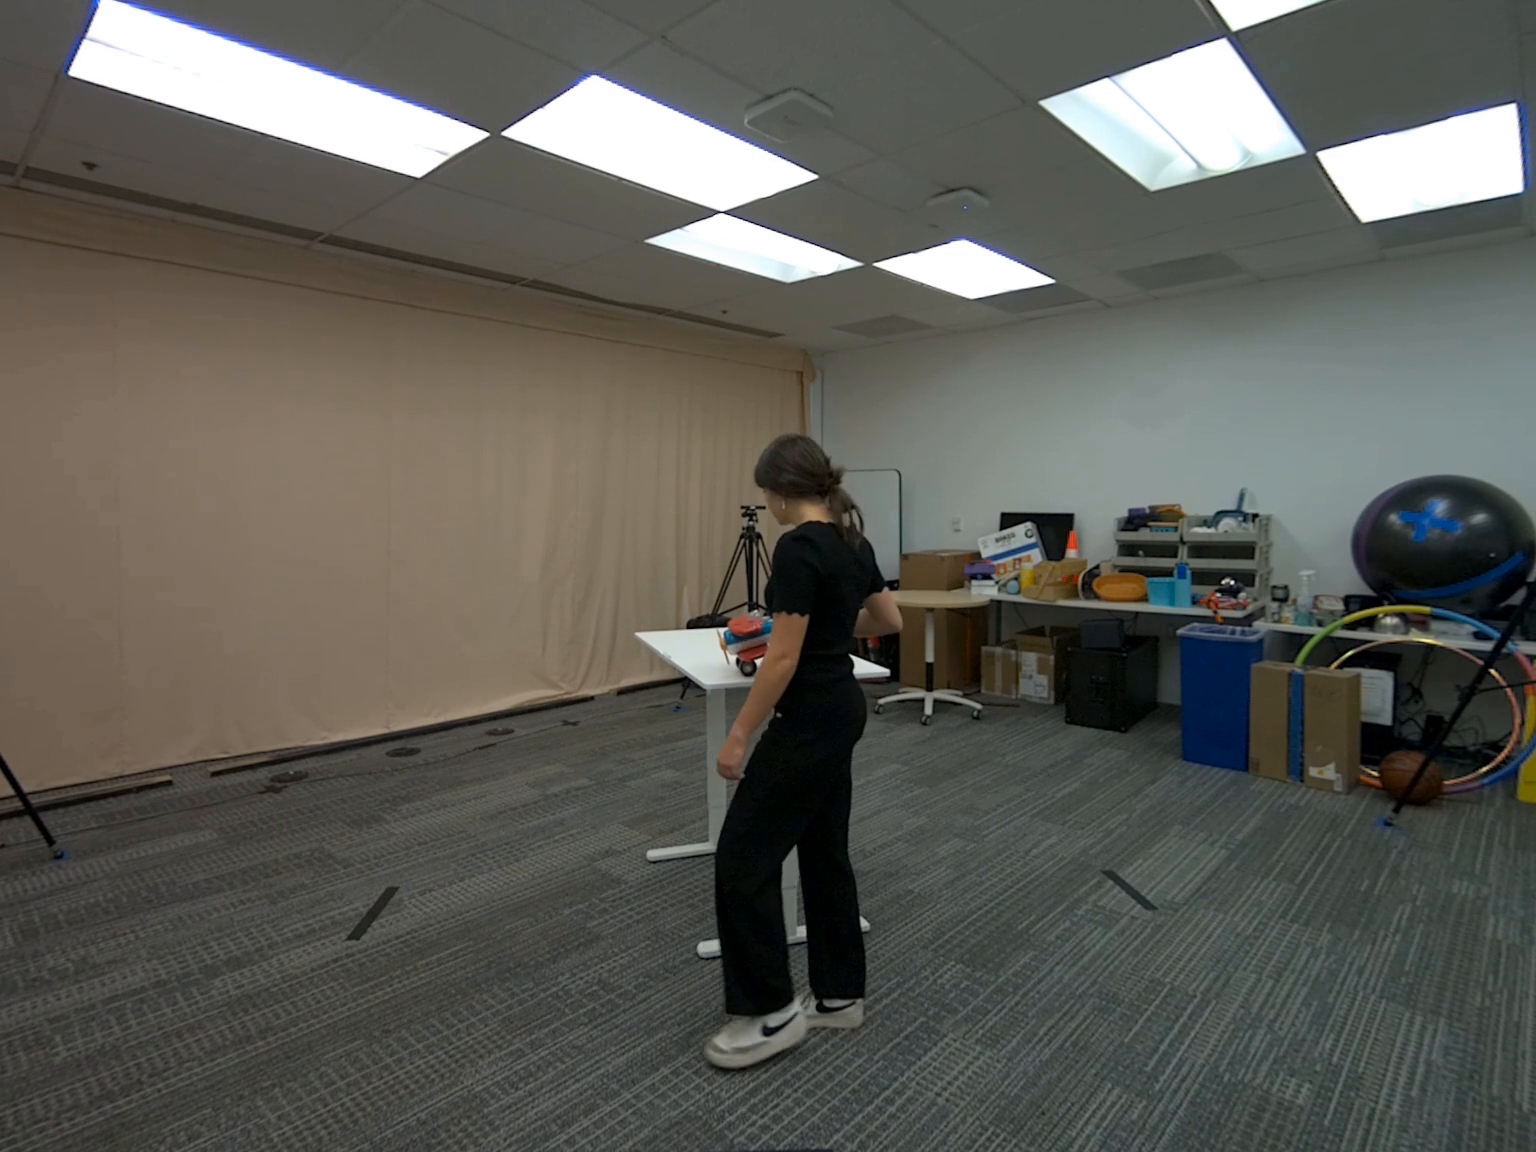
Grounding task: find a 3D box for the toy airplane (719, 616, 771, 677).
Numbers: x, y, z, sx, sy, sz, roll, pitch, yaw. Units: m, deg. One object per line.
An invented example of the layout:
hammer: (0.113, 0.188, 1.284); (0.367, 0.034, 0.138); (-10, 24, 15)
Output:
toy airplane: (-0.020, 0.187, 2.596); (0.255, 0.155, 0.257); (-35, 10, -33)
